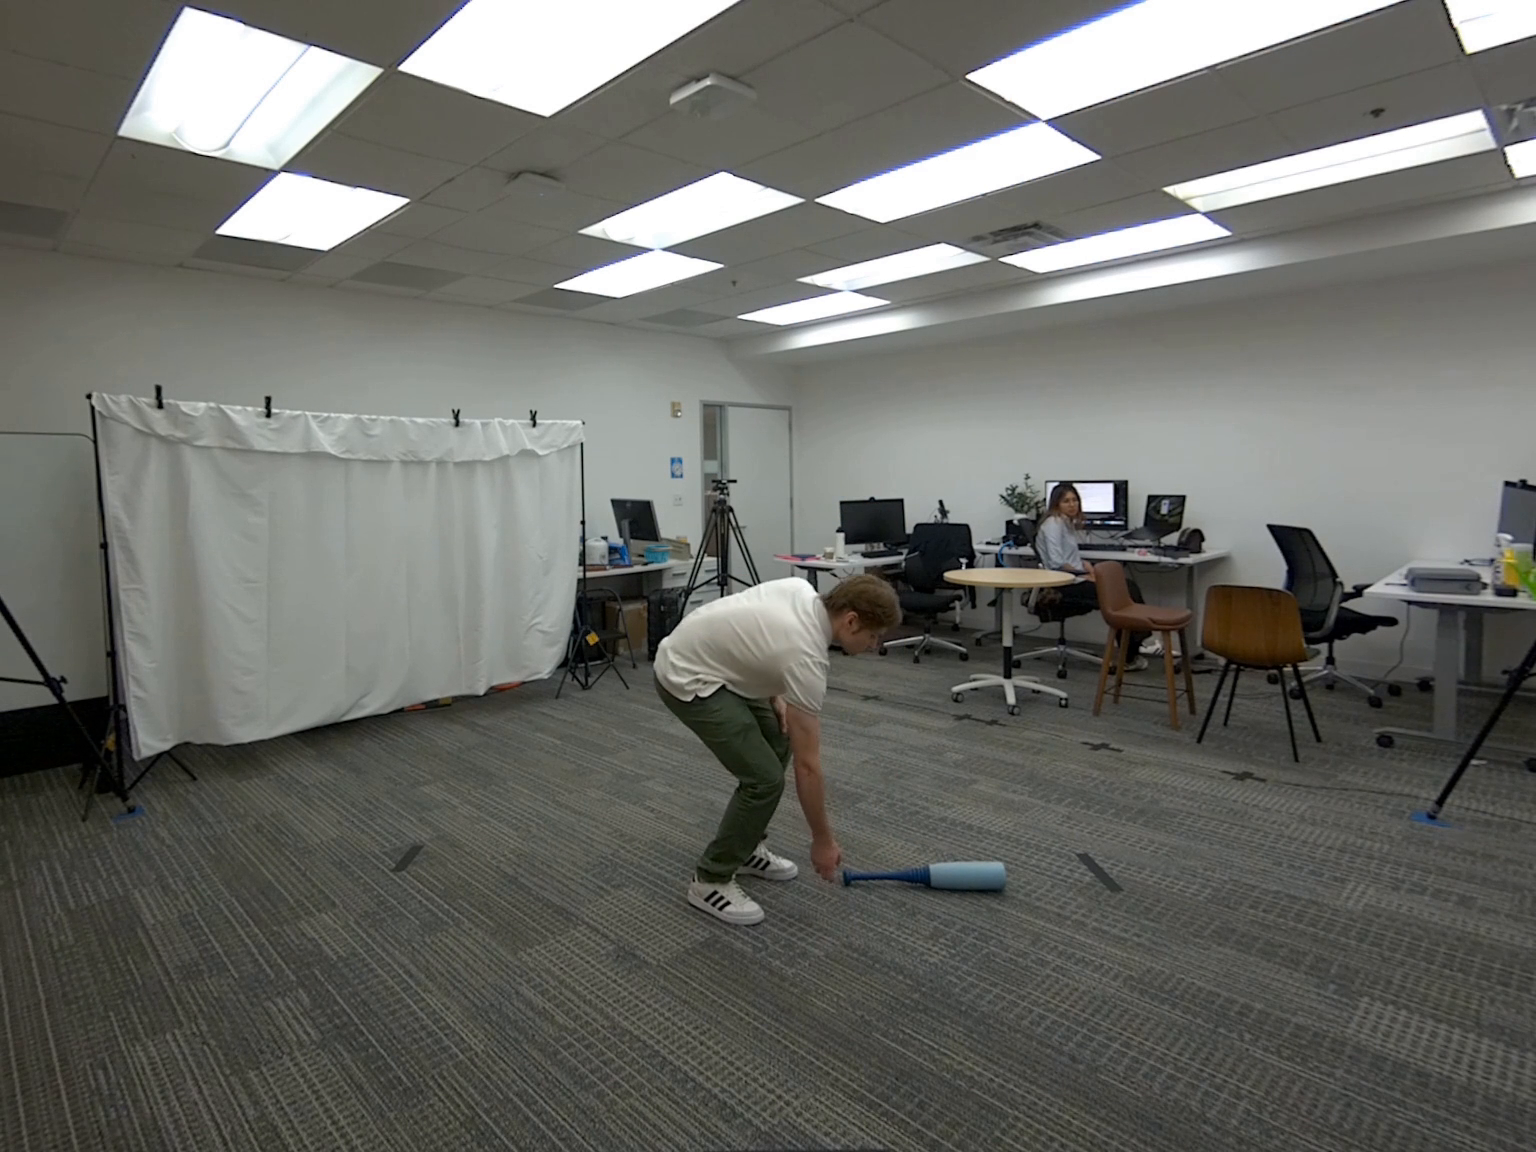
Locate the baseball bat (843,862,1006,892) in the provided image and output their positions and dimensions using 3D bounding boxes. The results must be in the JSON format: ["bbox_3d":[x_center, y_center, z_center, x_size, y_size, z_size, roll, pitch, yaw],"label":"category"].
[{"bbox_3d":[0.535,1.026,2.905,0.546,0.089,0.089,-4,4,7],"label":"baseball bat"}]
